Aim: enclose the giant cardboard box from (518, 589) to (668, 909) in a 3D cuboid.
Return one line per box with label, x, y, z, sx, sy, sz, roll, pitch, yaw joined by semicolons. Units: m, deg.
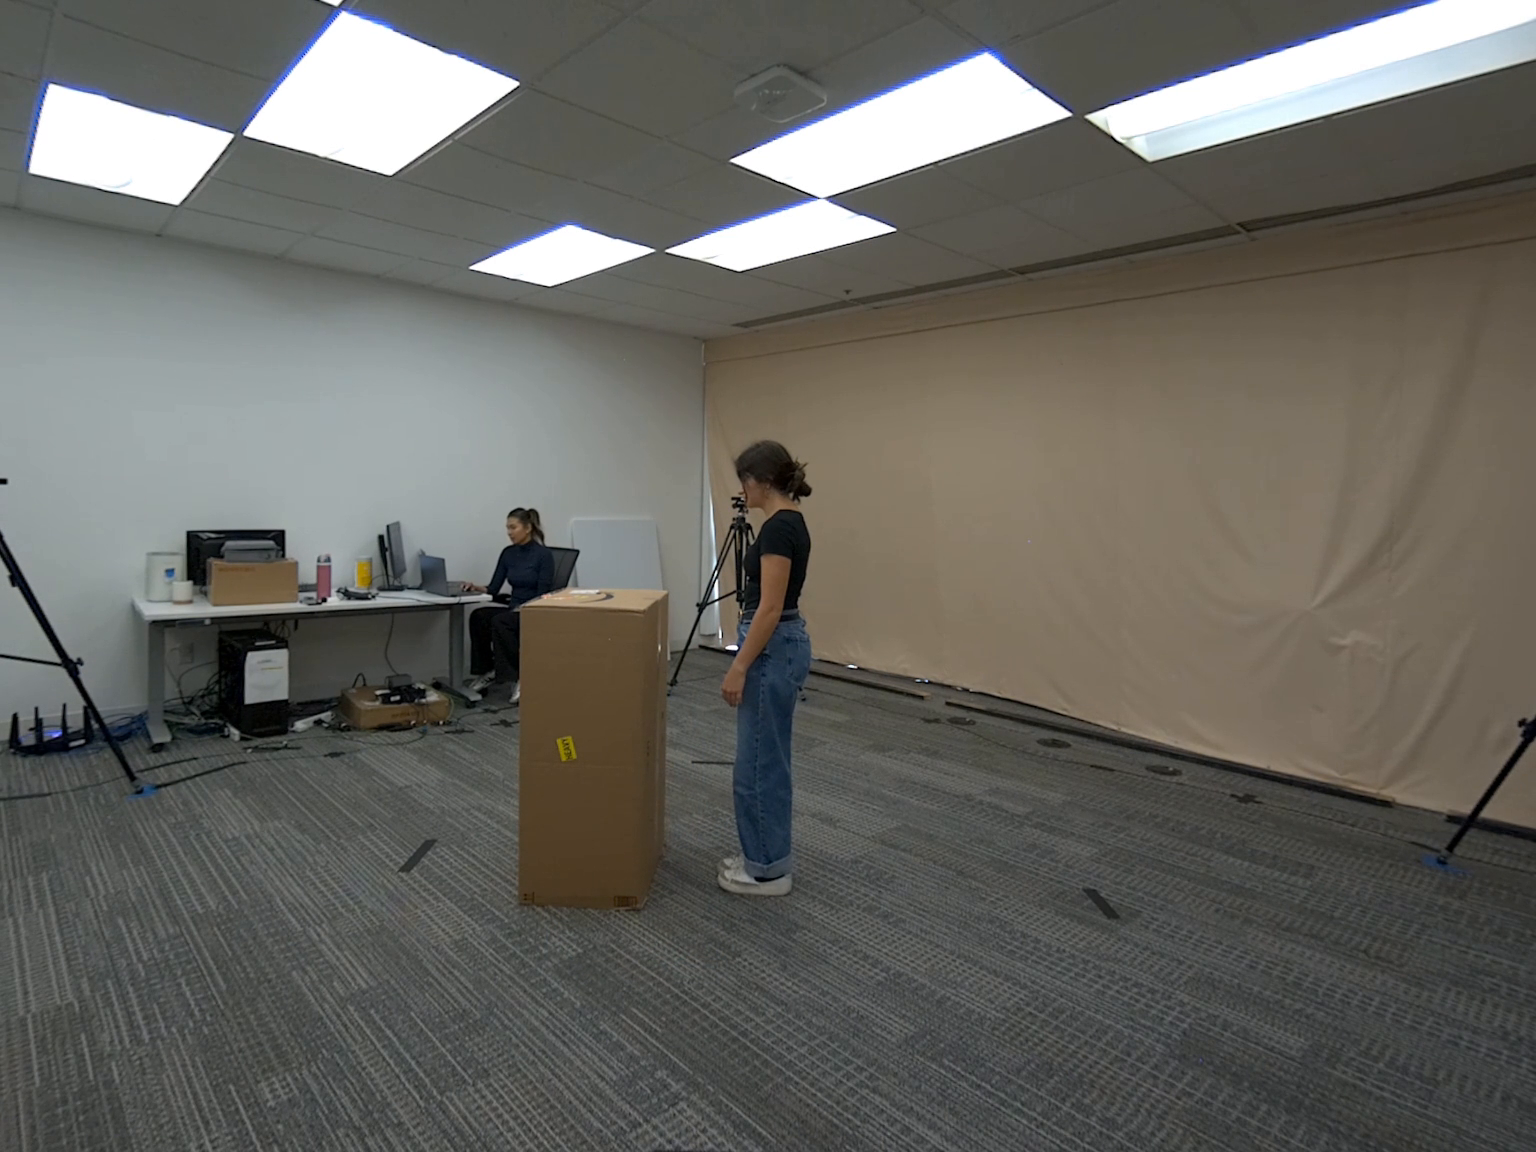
giant cardboard box;-0.626;0.590;3.095;0.427;1.023;0.577;1;3;2
